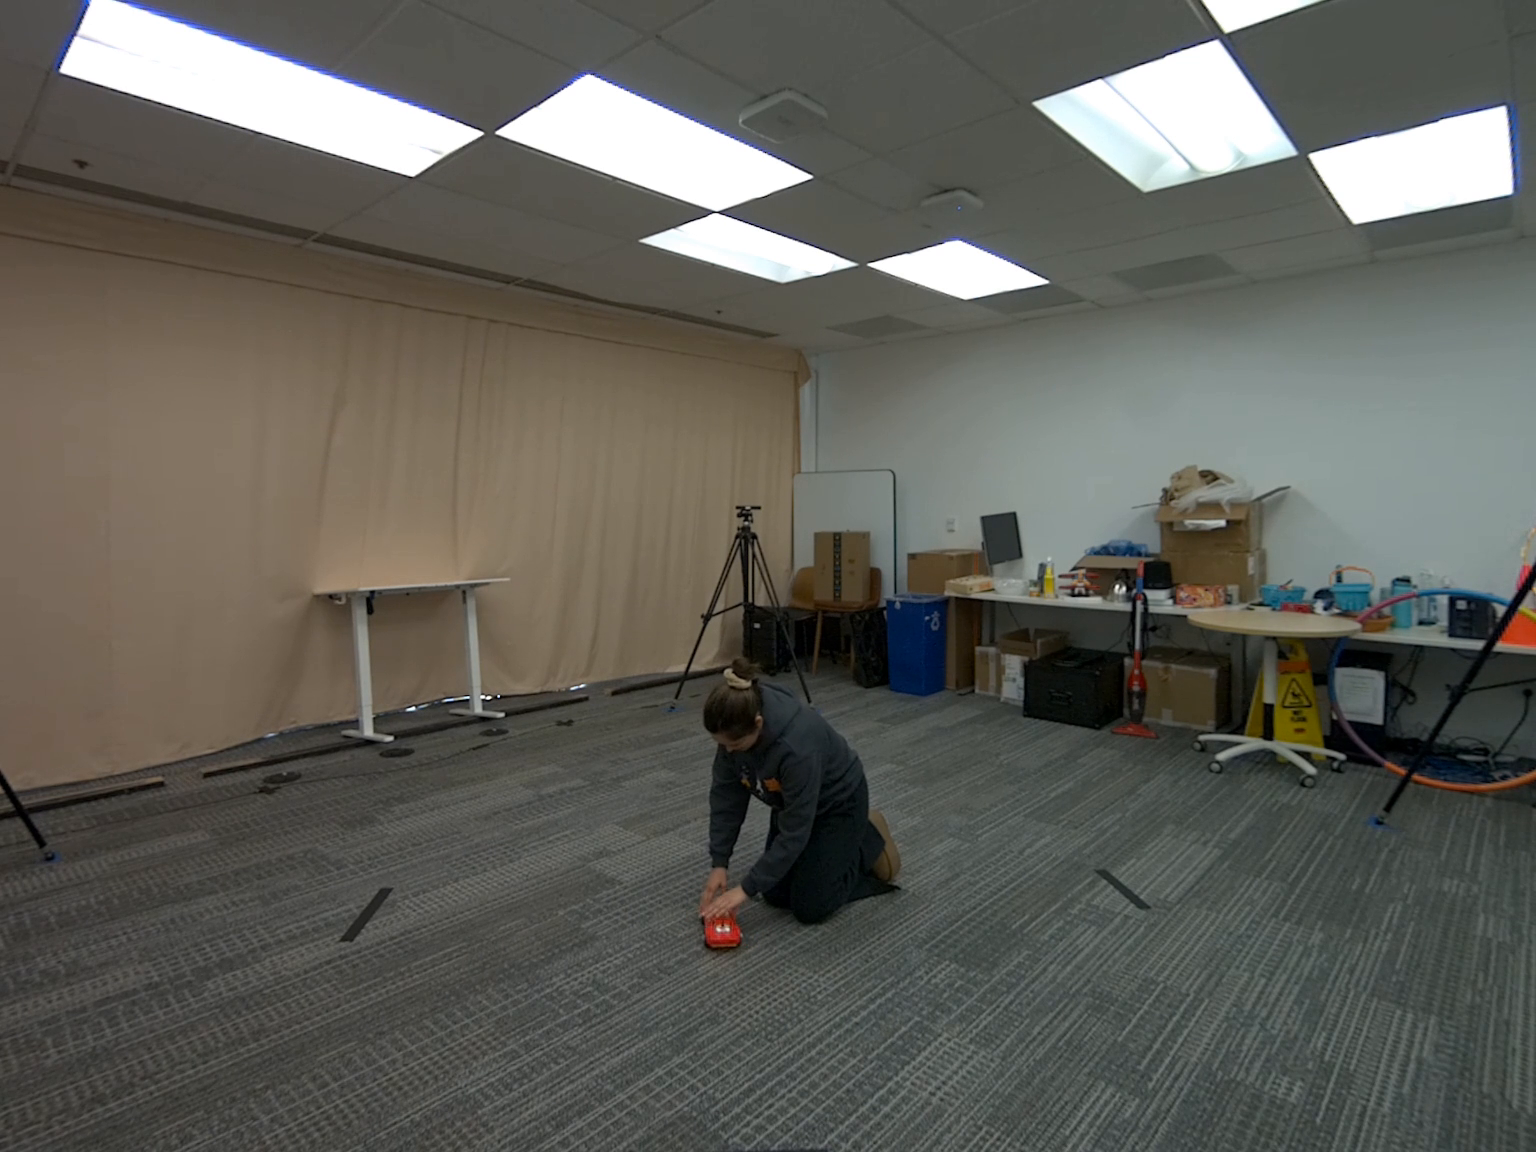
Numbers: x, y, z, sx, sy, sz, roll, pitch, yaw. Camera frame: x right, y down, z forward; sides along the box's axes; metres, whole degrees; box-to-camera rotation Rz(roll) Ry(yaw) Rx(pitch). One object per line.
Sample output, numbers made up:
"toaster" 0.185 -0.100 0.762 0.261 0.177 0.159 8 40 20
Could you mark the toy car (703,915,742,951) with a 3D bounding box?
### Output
"toy car" -0.125 1.135 2.716 0.130 0.084 0.254 -1 -8 -5
